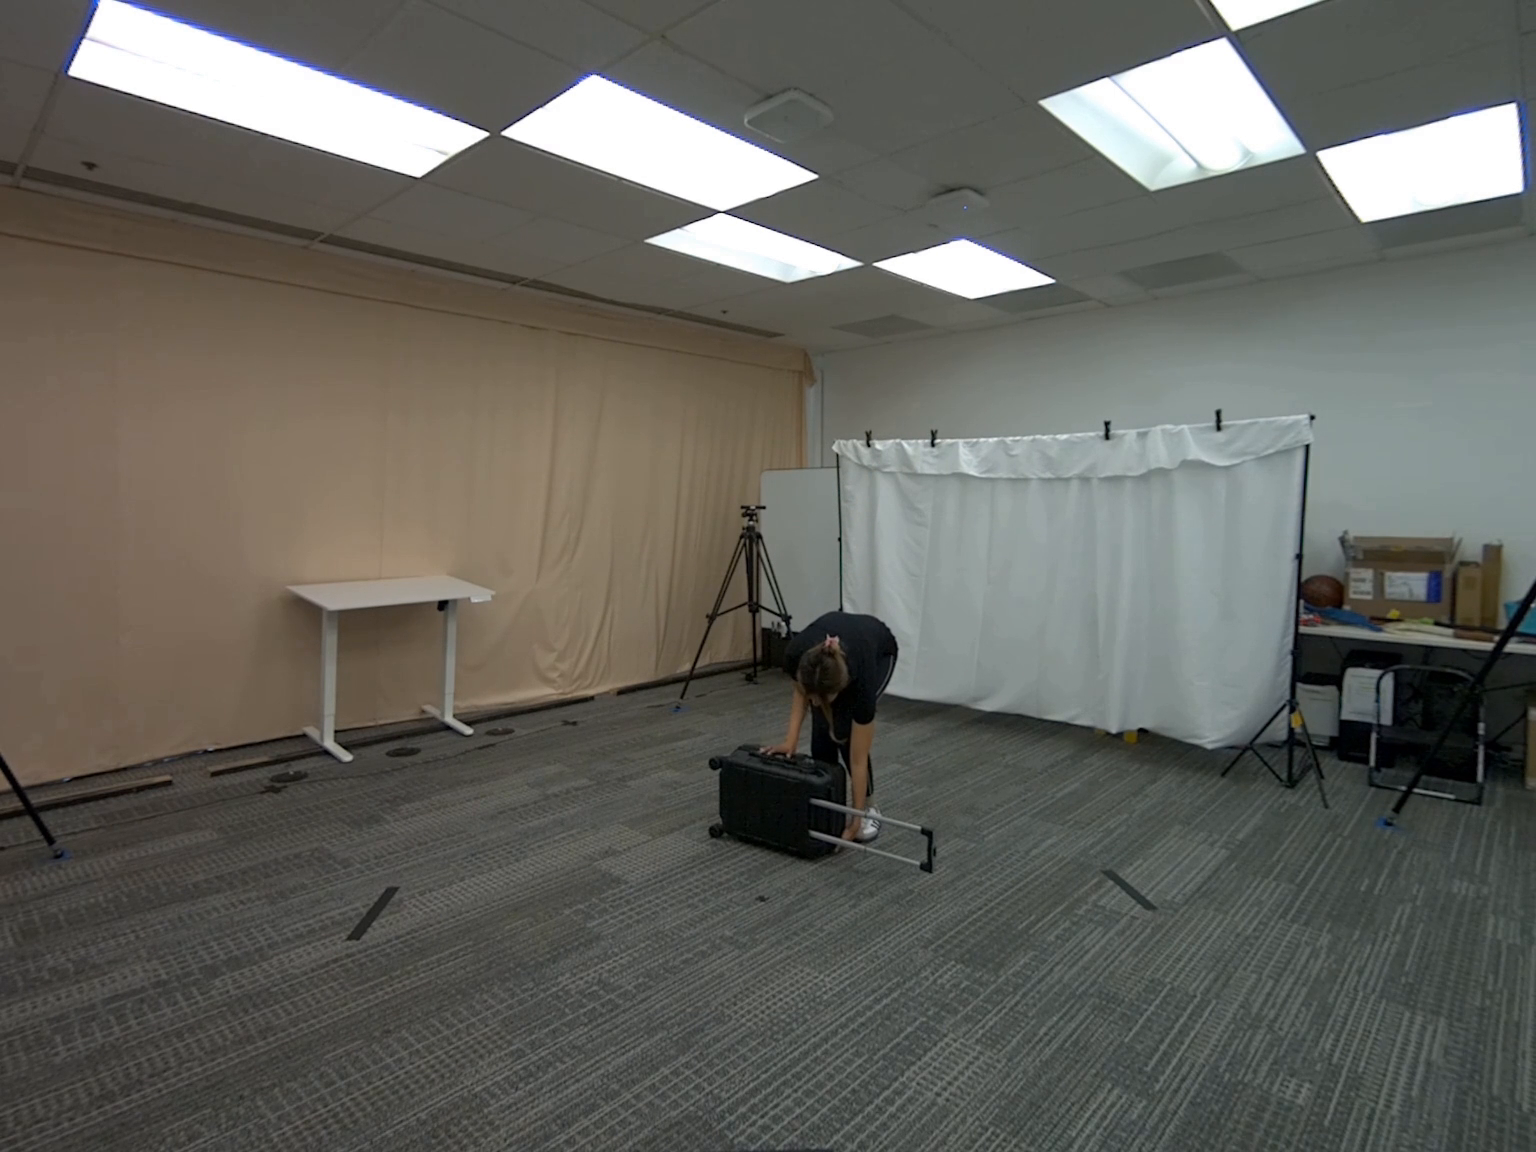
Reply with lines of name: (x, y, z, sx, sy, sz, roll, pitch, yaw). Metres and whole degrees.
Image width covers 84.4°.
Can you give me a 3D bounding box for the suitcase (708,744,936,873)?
suitcase: (0.221, 0.928, 3.343, 1.009, 0.383, 0.250, 3, 5, 34)
